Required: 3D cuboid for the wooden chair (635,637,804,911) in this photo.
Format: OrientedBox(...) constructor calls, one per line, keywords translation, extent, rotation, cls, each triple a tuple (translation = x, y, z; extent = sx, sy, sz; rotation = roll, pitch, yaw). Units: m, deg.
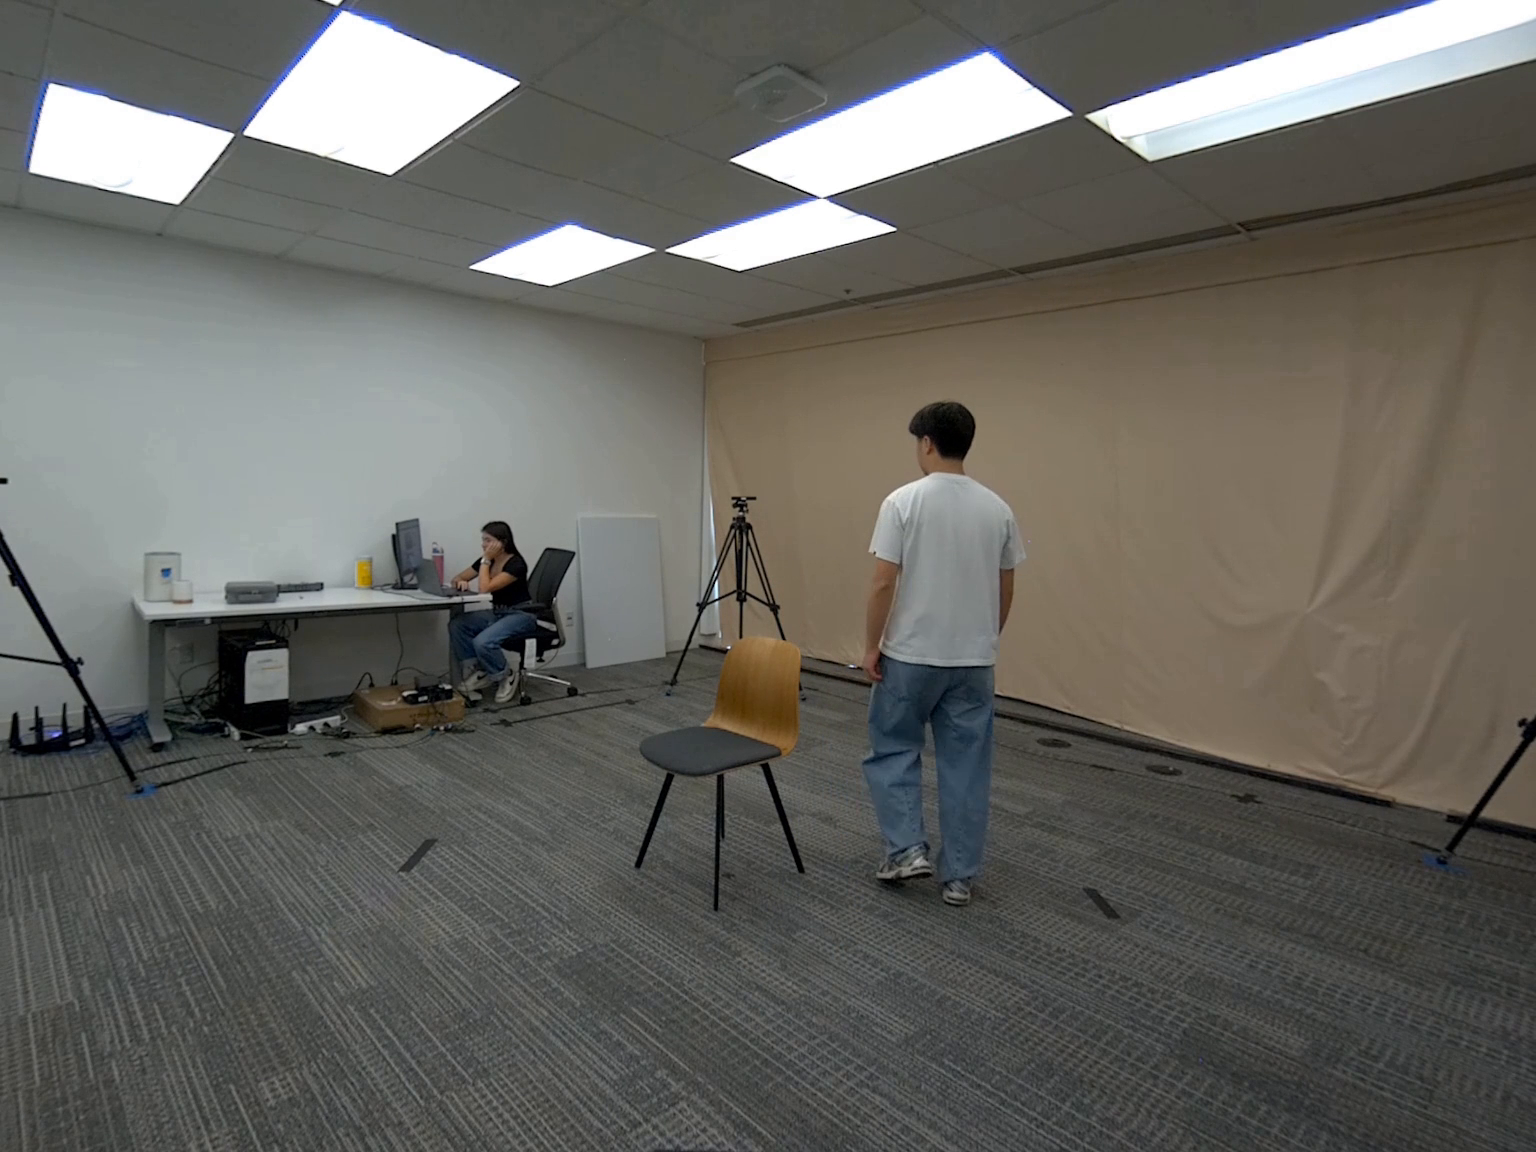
OrientedBox(translation=(-0.182, 0.676, 3.111), extent=(0.490, 0.877, 0.510), rotation=(4, 0, 45), cls="wooden chair")
